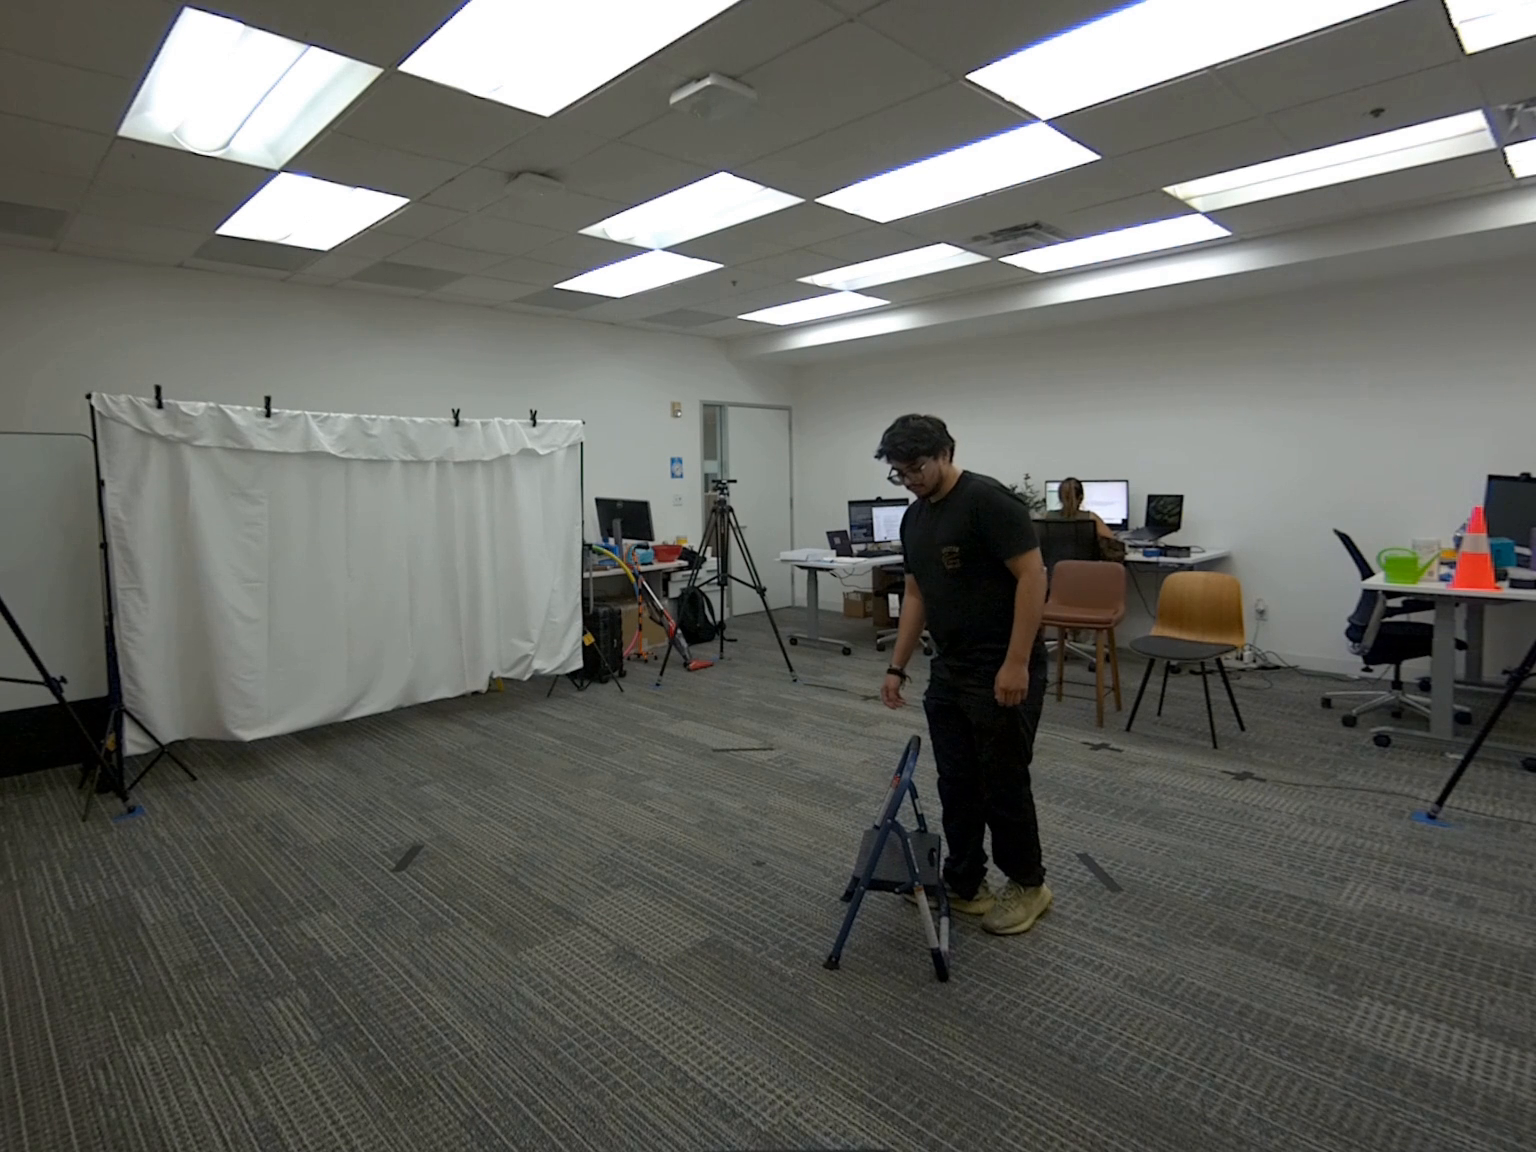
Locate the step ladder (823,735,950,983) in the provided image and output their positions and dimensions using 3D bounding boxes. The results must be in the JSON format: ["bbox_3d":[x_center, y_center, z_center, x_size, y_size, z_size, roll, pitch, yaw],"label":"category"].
[{"bbox_3d":[0.377,0.801,2.570,0.354,0.604,0.427,0,5,12],"label":"step ladder"}]
